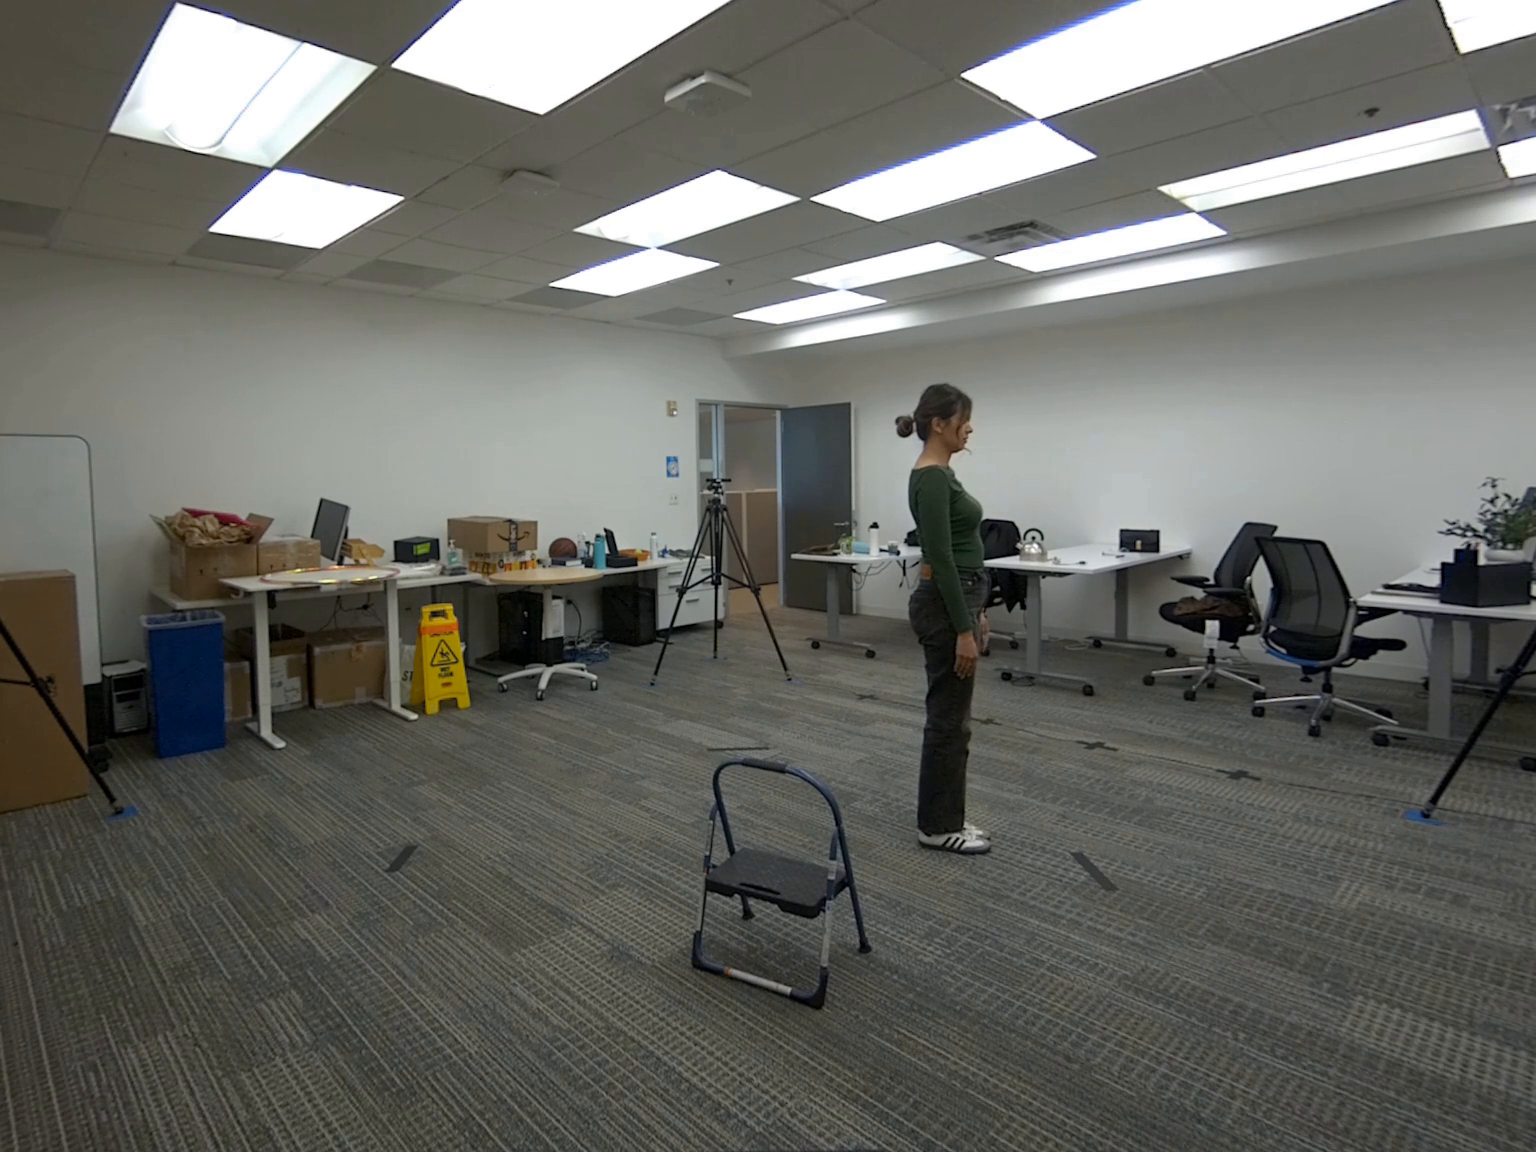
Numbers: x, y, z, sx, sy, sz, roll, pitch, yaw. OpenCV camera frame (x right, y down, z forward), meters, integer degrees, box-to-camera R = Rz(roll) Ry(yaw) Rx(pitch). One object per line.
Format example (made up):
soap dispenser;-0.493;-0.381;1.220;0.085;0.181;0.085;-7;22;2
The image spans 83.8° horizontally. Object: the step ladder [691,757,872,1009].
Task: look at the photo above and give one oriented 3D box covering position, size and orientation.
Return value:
step ladder;0.037;0.813;2.476;0.442;0.604;0.342;1;5;29
